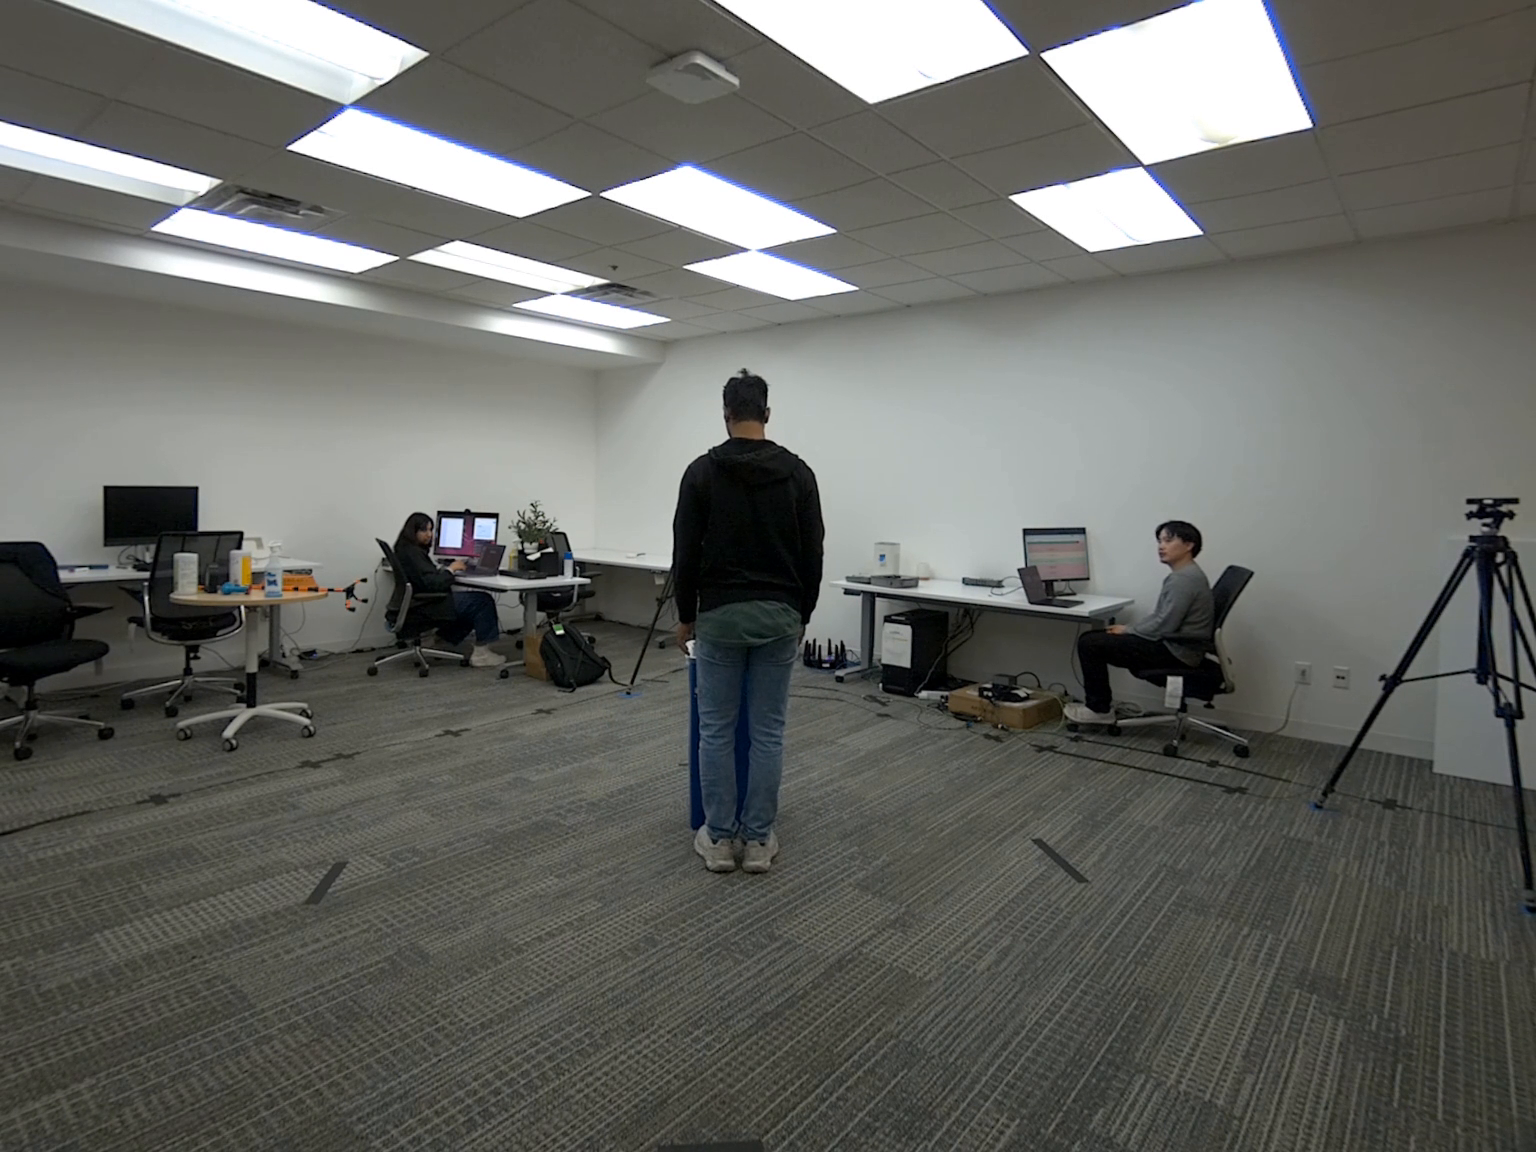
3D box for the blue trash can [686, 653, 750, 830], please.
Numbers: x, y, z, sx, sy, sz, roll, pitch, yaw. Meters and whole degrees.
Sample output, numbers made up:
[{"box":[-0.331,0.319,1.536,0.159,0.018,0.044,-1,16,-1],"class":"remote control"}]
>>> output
[{"box":[-0.176,0.662,3.597,0.373,0.711,0.381,1,4,-5],"class":"blue trash can"}]
